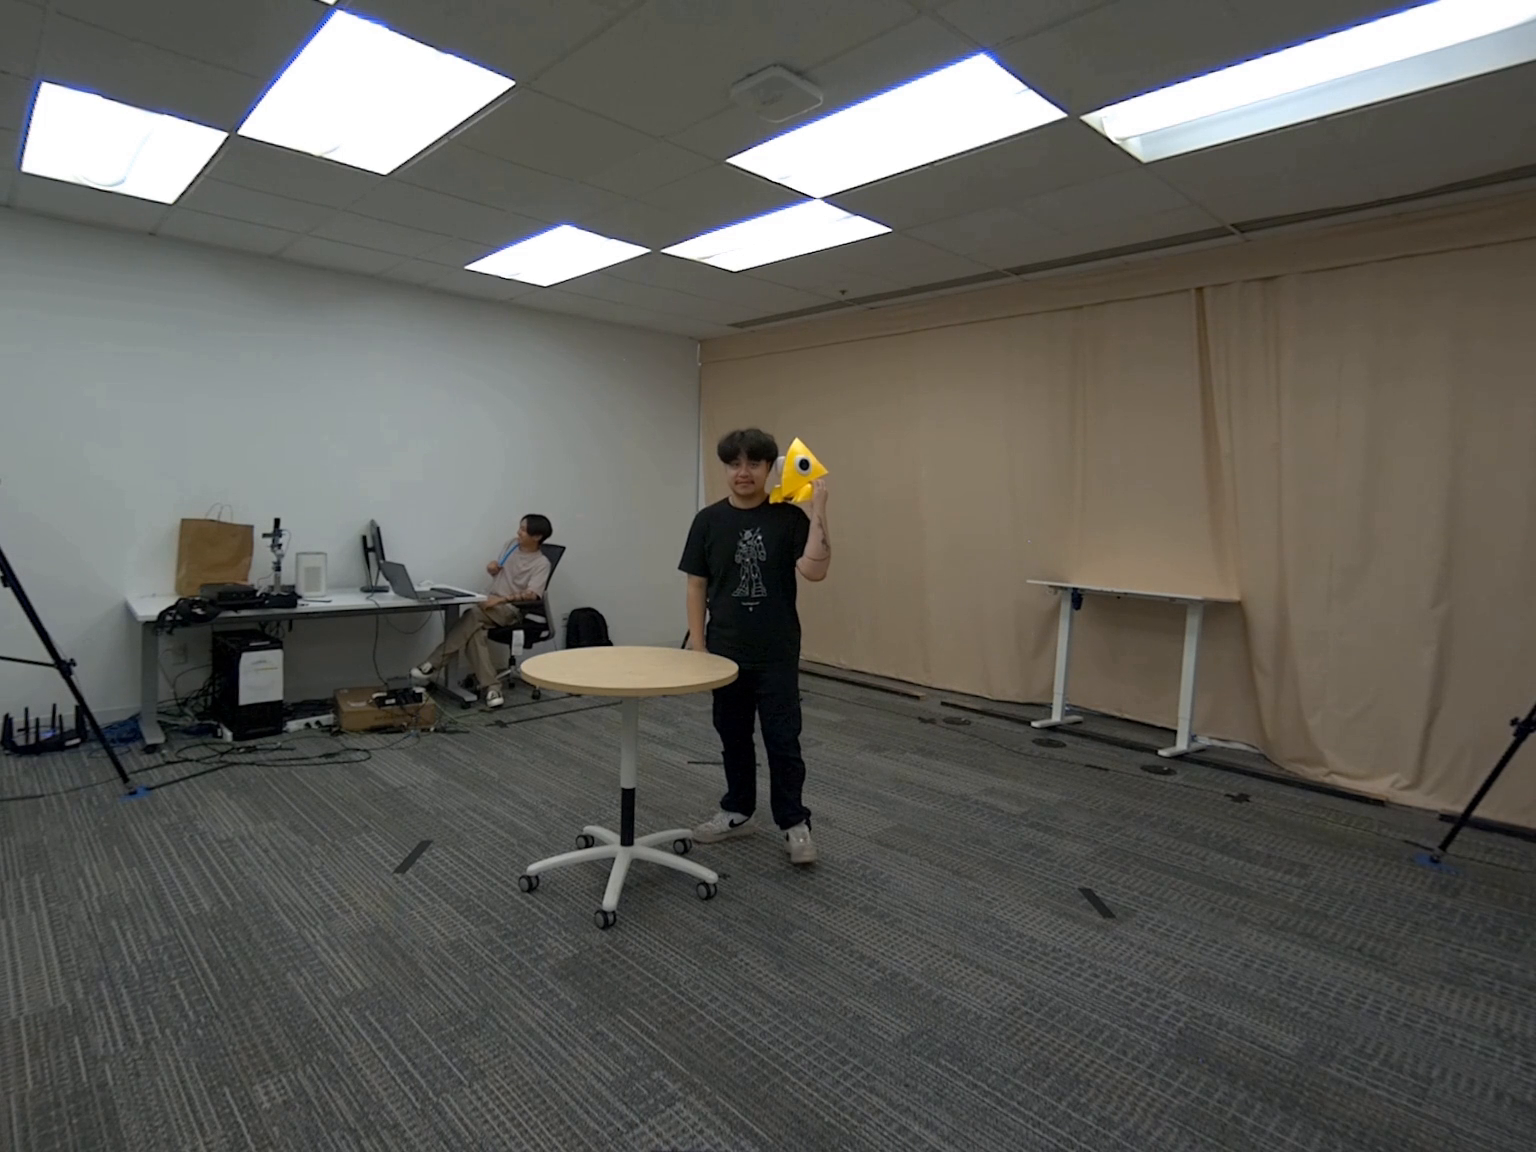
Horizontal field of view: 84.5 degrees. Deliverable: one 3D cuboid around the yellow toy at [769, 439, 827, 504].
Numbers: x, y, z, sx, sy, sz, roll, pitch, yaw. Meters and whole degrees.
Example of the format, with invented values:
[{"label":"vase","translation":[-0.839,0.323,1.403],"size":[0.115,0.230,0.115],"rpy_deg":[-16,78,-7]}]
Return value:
[{"label":"yellow toy","translation":[0.090,-0.418,3.280],"size":[0.209,0.228,0.190],"rpy_deg":[-1,13,36]}]
